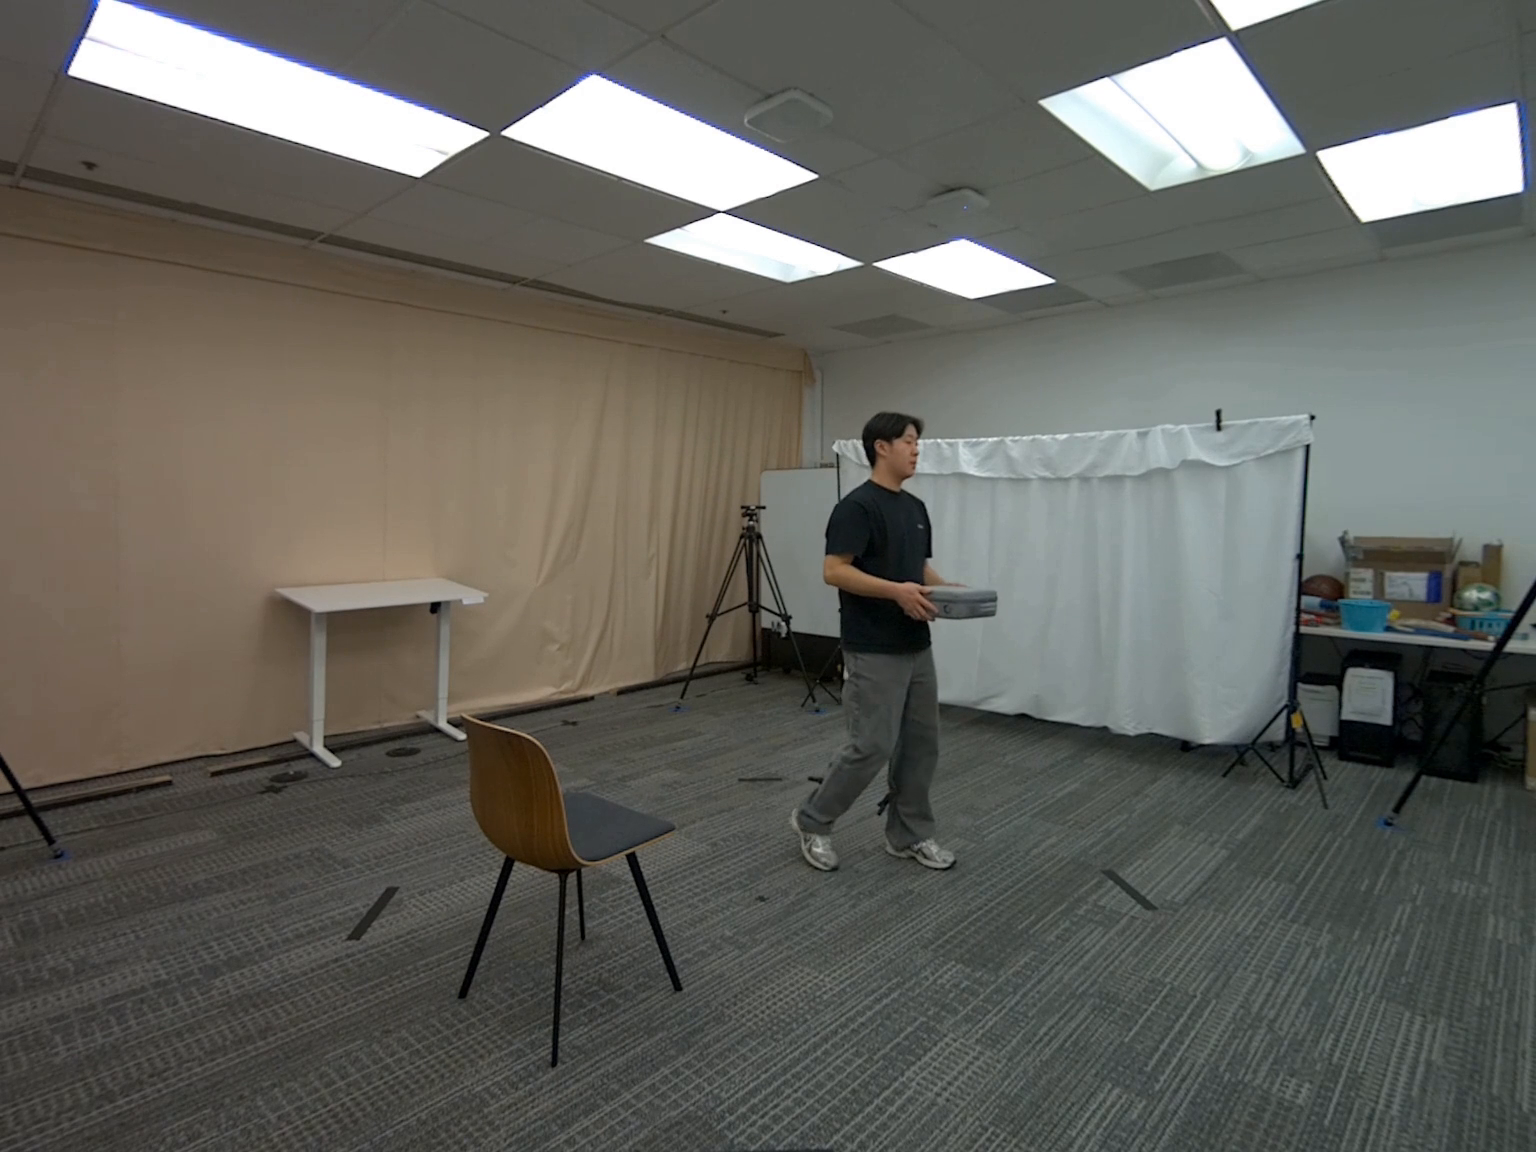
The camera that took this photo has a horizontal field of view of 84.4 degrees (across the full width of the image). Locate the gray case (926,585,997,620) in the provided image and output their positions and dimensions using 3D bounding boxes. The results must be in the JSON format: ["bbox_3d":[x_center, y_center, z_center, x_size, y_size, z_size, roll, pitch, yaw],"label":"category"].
[{"bbox_3d":[0.666,0.098,3.020,0.255,0.103,0.296,-1,4,-35],"label":"gray case"}]
